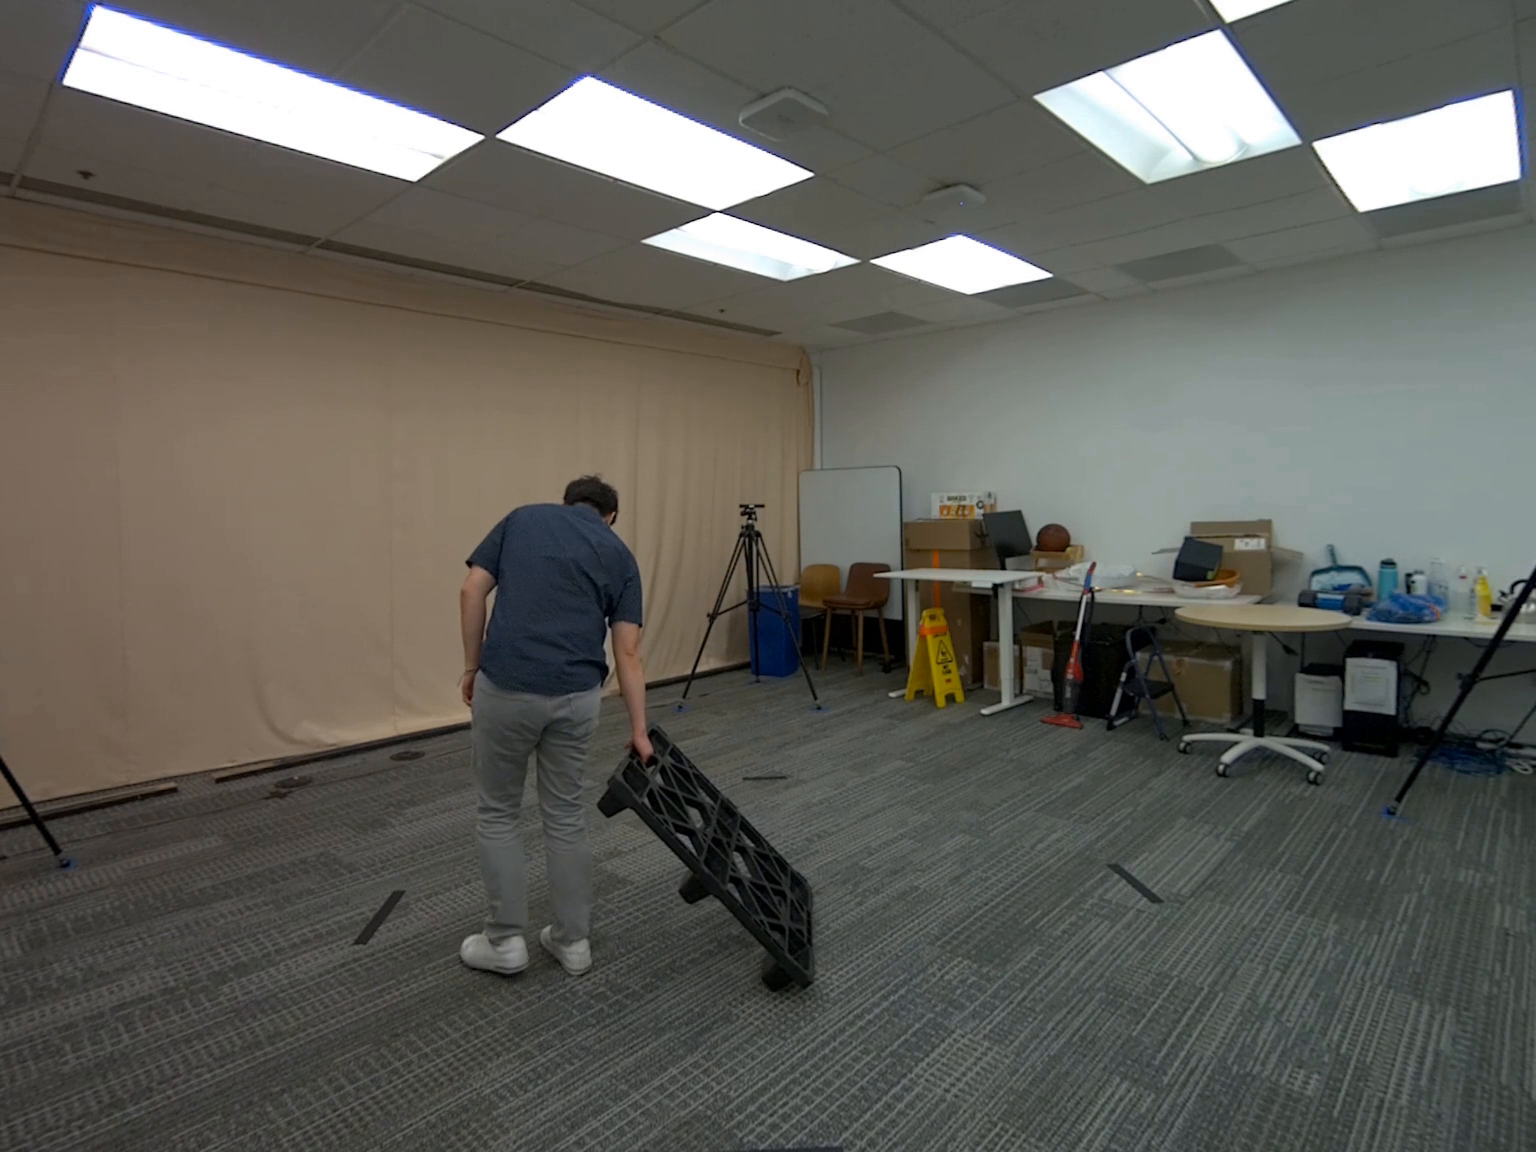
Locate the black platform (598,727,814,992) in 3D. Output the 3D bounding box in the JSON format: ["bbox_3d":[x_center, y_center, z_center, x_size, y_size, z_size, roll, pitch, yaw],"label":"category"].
[{"bbox_3d":[-0.179,0.864,2.632,0.143,0.807,0.603,-44,-1,5],"label":"black platform"}]
